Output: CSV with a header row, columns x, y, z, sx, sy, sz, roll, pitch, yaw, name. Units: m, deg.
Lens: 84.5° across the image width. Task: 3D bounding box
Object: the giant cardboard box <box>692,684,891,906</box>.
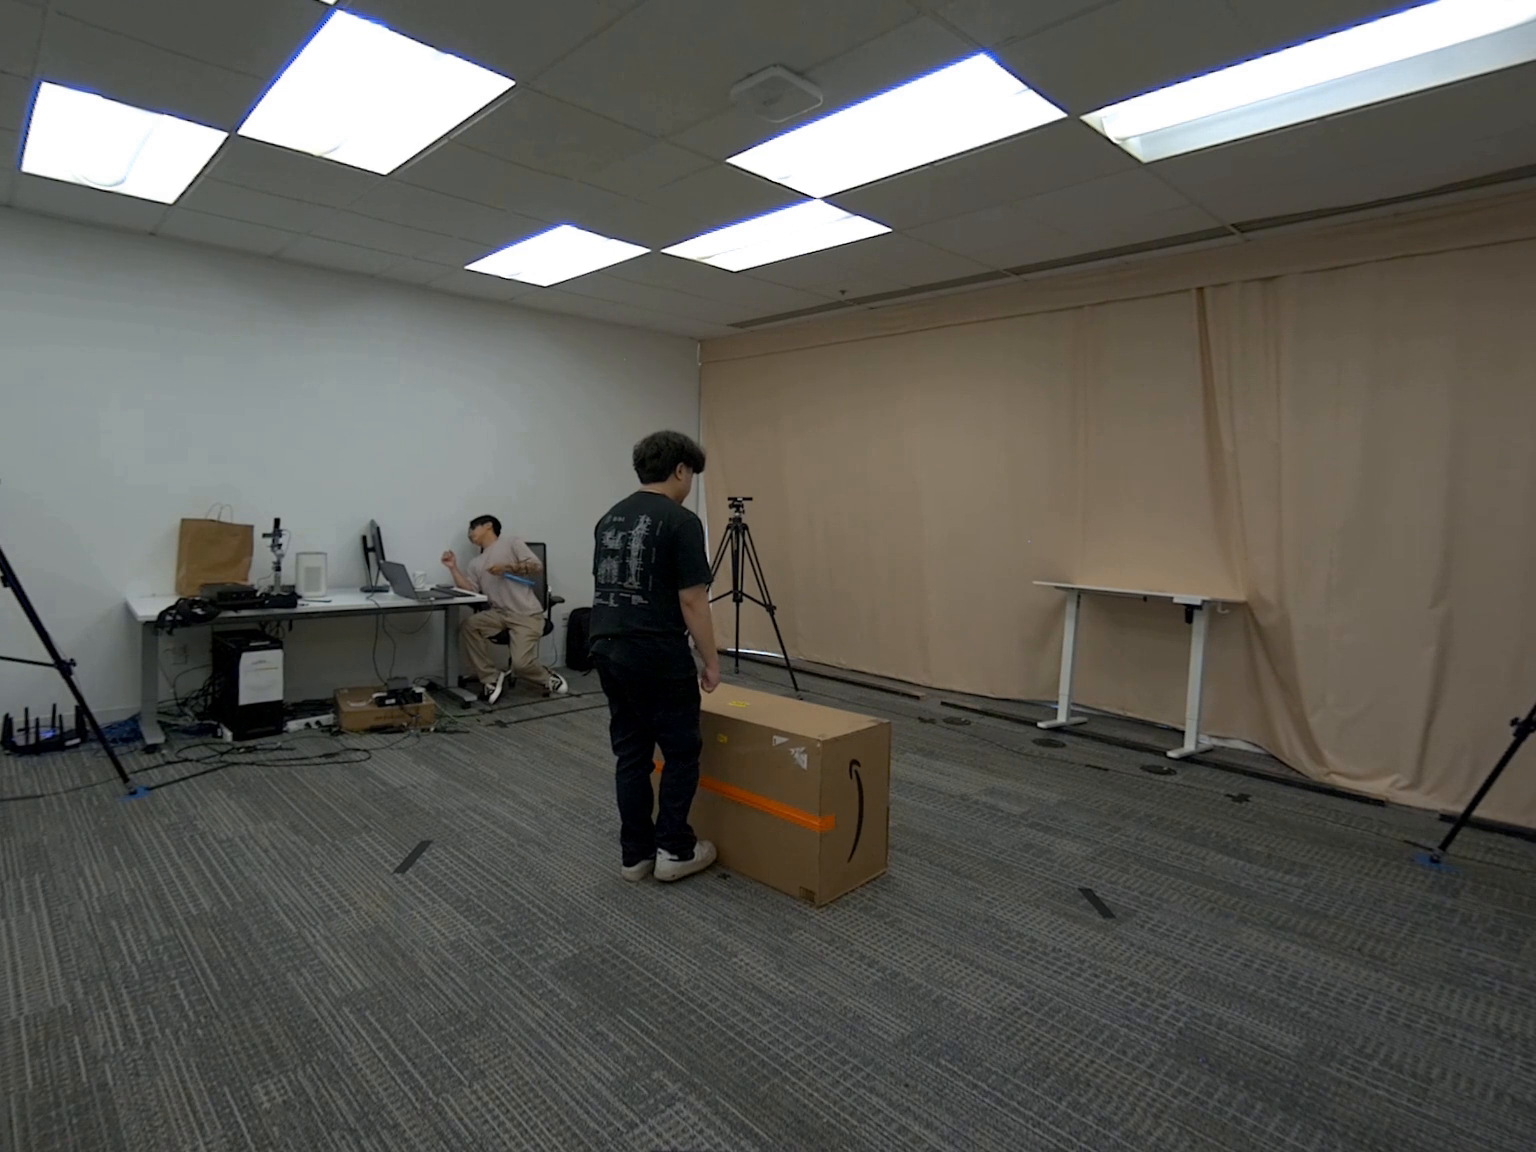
x,y,z,sx,sy,sz,roll,pitch,yaw,name
-0.070,0.801,3.360,1.053,0.582,0.437,5,5,43,giant cardboard box
